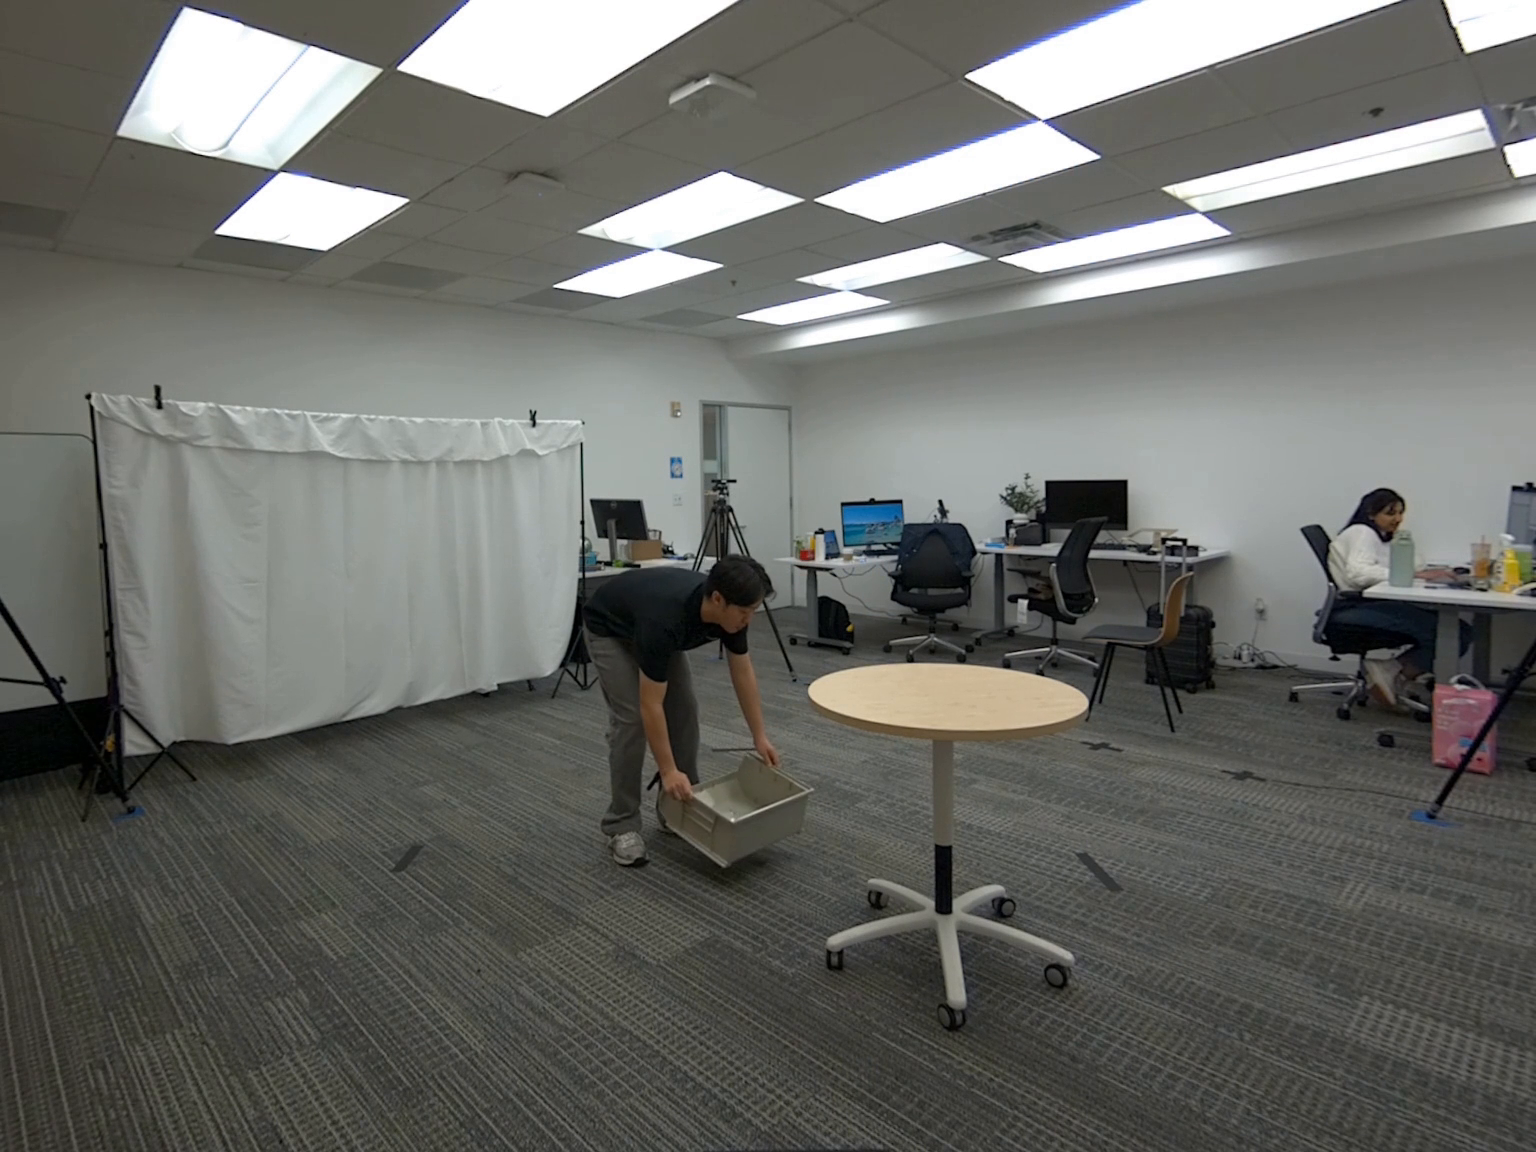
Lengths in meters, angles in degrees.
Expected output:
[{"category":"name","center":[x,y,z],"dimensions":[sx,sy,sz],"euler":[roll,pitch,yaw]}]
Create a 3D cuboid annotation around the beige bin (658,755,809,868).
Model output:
[{"category":"beige bin","center":[-0.117,0.830,3.111],"dimensions":[0.391,0.187,0.411],"euler":[21,19,41]}]
